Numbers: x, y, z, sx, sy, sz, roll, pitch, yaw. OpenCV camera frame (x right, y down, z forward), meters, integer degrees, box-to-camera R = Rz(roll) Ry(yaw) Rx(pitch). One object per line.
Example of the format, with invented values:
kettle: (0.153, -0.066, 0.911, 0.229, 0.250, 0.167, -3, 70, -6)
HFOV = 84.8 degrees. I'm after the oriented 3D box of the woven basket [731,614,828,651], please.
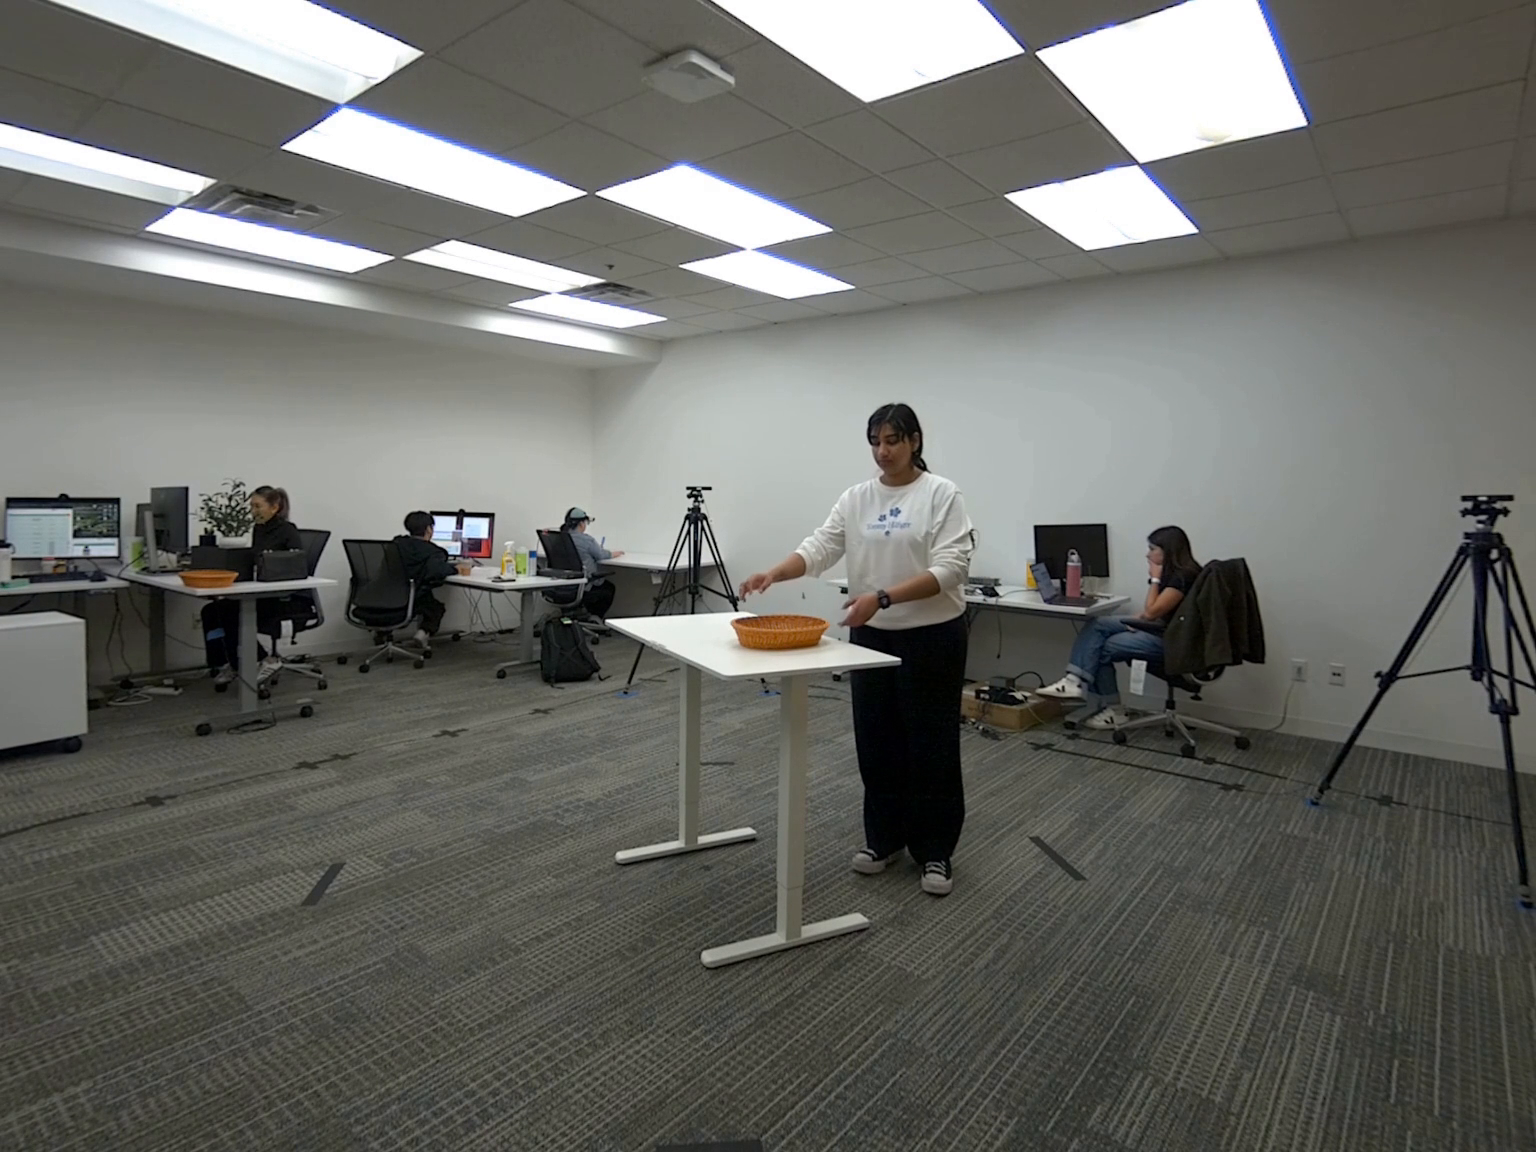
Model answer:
woven basket: (0.054, 0.187, 2.793, 0.340, 0.073, 0.261, -3, 8, -36)
